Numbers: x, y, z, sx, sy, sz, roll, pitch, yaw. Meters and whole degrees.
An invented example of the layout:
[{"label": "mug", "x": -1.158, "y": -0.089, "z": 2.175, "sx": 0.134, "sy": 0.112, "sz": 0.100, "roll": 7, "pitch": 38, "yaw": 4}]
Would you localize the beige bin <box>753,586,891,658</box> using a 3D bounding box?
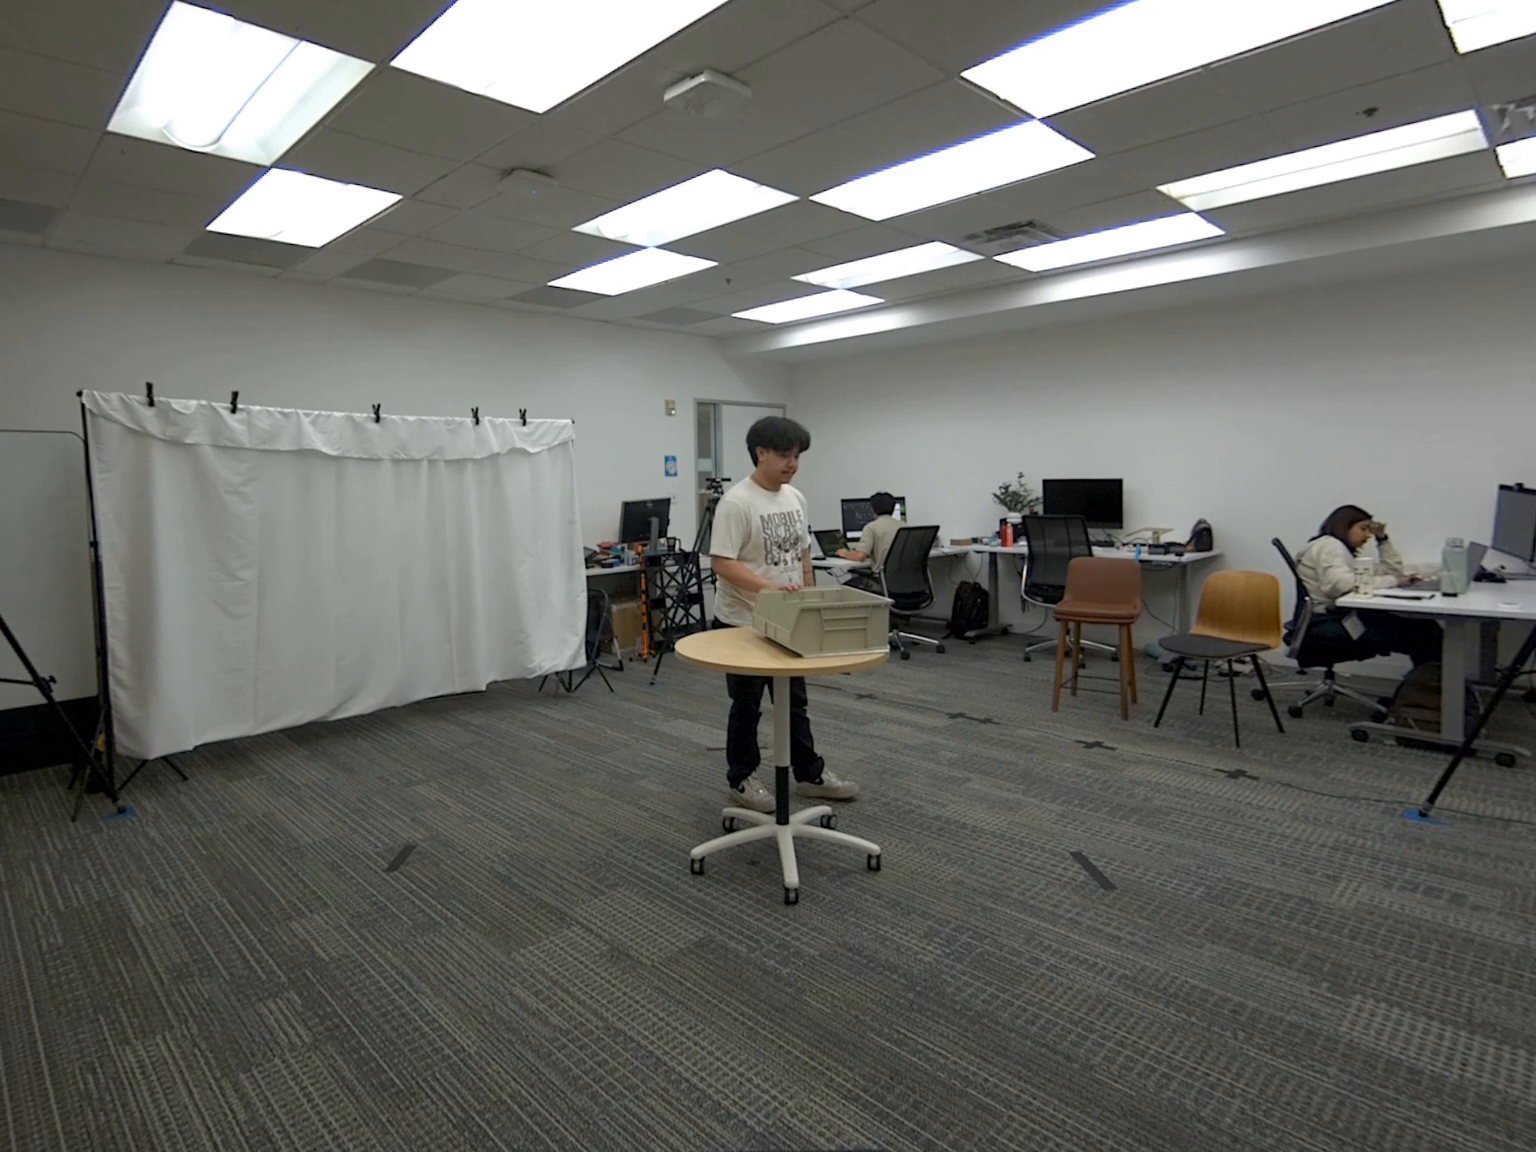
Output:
[{"label": "beige bin", "x": 0.185, "y": 0.160, "z": 3.053, "sx": 0.372, "sy": 0.188, "sz": 0.430, "roll": -1, "pitch": 6, "yaw": -16}]
